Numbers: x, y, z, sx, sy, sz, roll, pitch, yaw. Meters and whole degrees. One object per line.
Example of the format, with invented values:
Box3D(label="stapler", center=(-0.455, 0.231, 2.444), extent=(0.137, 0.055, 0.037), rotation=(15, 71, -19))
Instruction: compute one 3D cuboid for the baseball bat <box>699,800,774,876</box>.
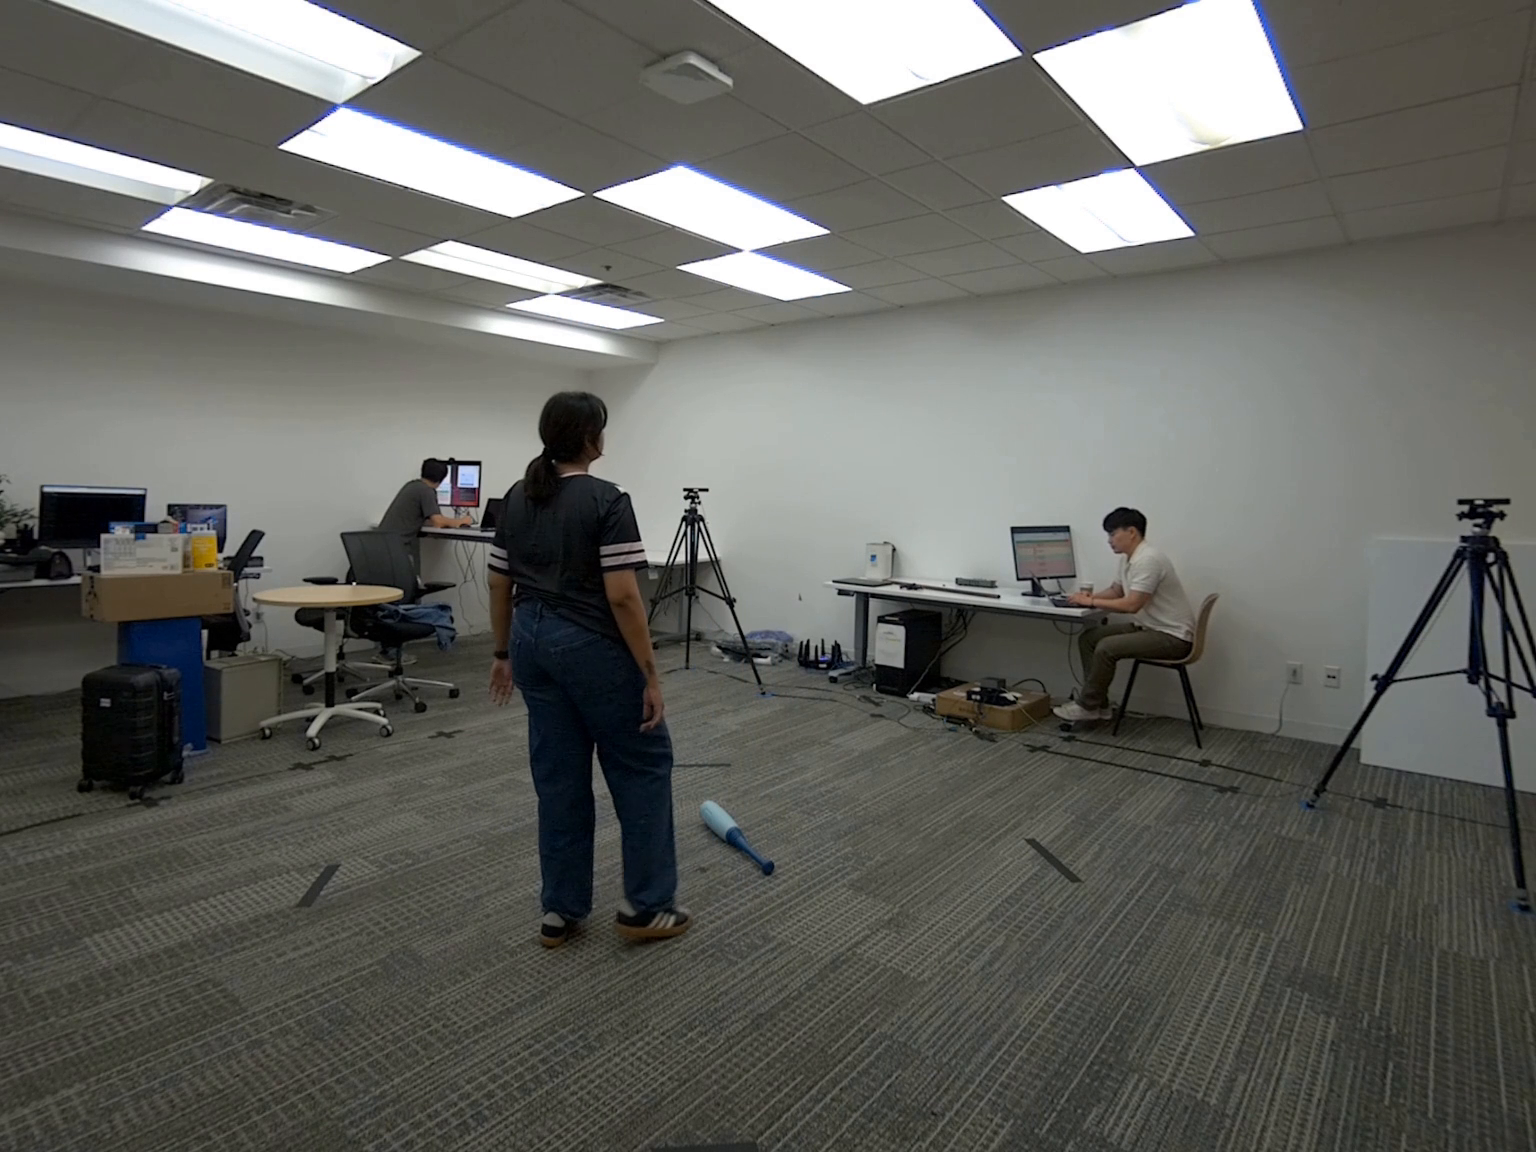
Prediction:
Box3D(label="baseball bat", center=(-0.138, 1.017, 3.312), extent=(0.087, 0.088, 0.560), rotation=(-1, 9, -27))
